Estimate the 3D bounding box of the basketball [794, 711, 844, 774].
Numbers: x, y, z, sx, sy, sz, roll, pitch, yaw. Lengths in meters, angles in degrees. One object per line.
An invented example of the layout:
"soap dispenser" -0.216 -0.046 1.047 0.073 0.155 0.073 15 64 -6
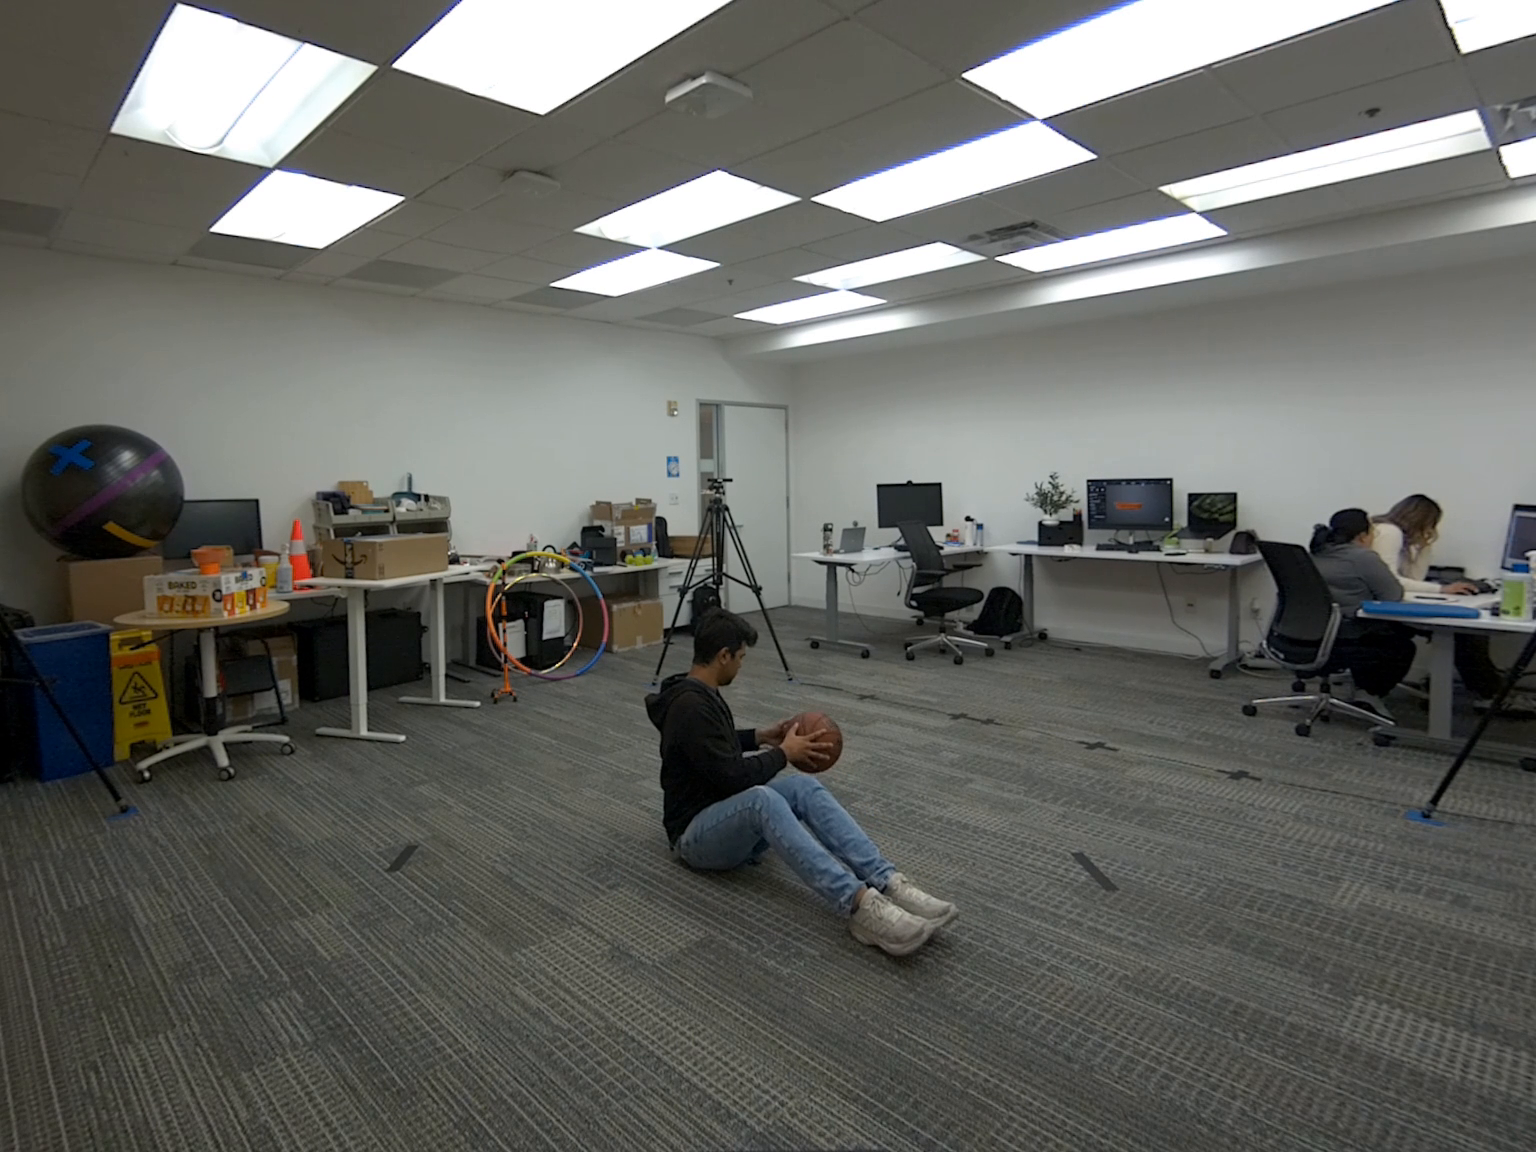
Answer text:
"basketball" 0.165 0.653 3.345 0.236 0.235 0.237 -1 5 -2
